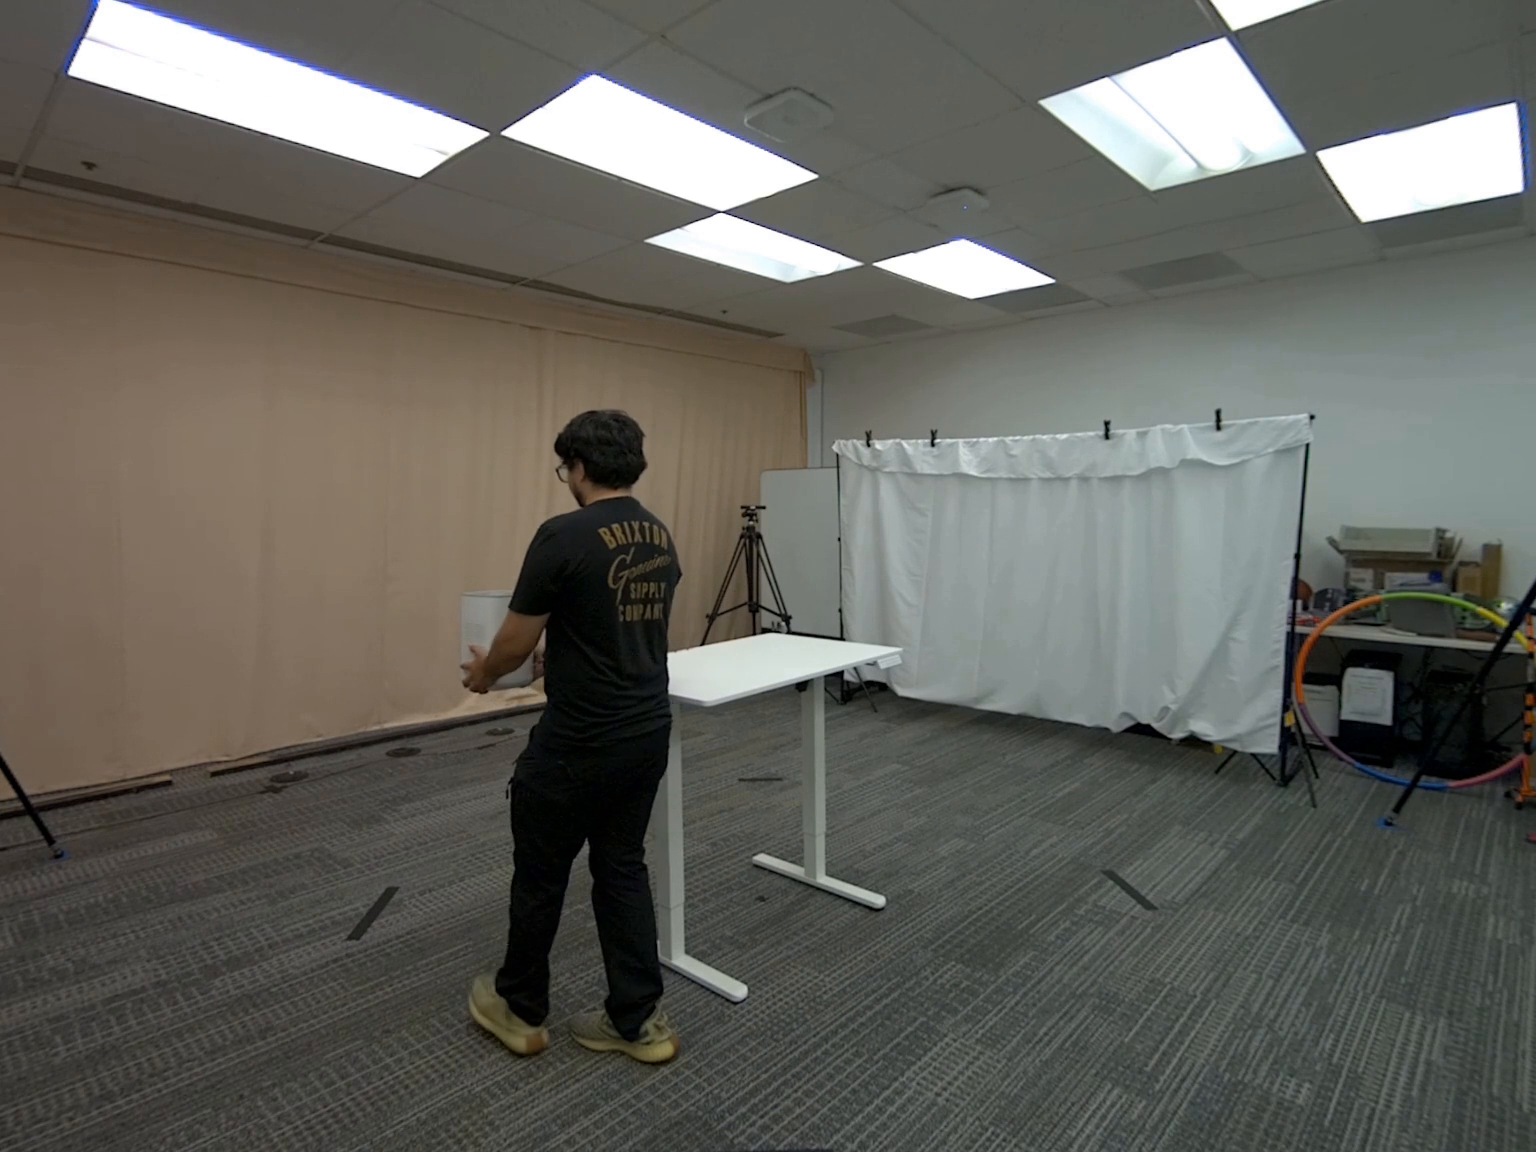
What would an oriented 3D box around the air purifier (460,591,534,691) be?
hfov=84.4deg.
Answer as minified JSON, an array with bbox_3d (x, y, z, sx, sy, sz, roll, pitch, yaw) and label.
[{"bbox_3d":[-0.765,0.181,2.376,0.177,0.265,0.166,1,1,34],"label":"air purifier"}]
